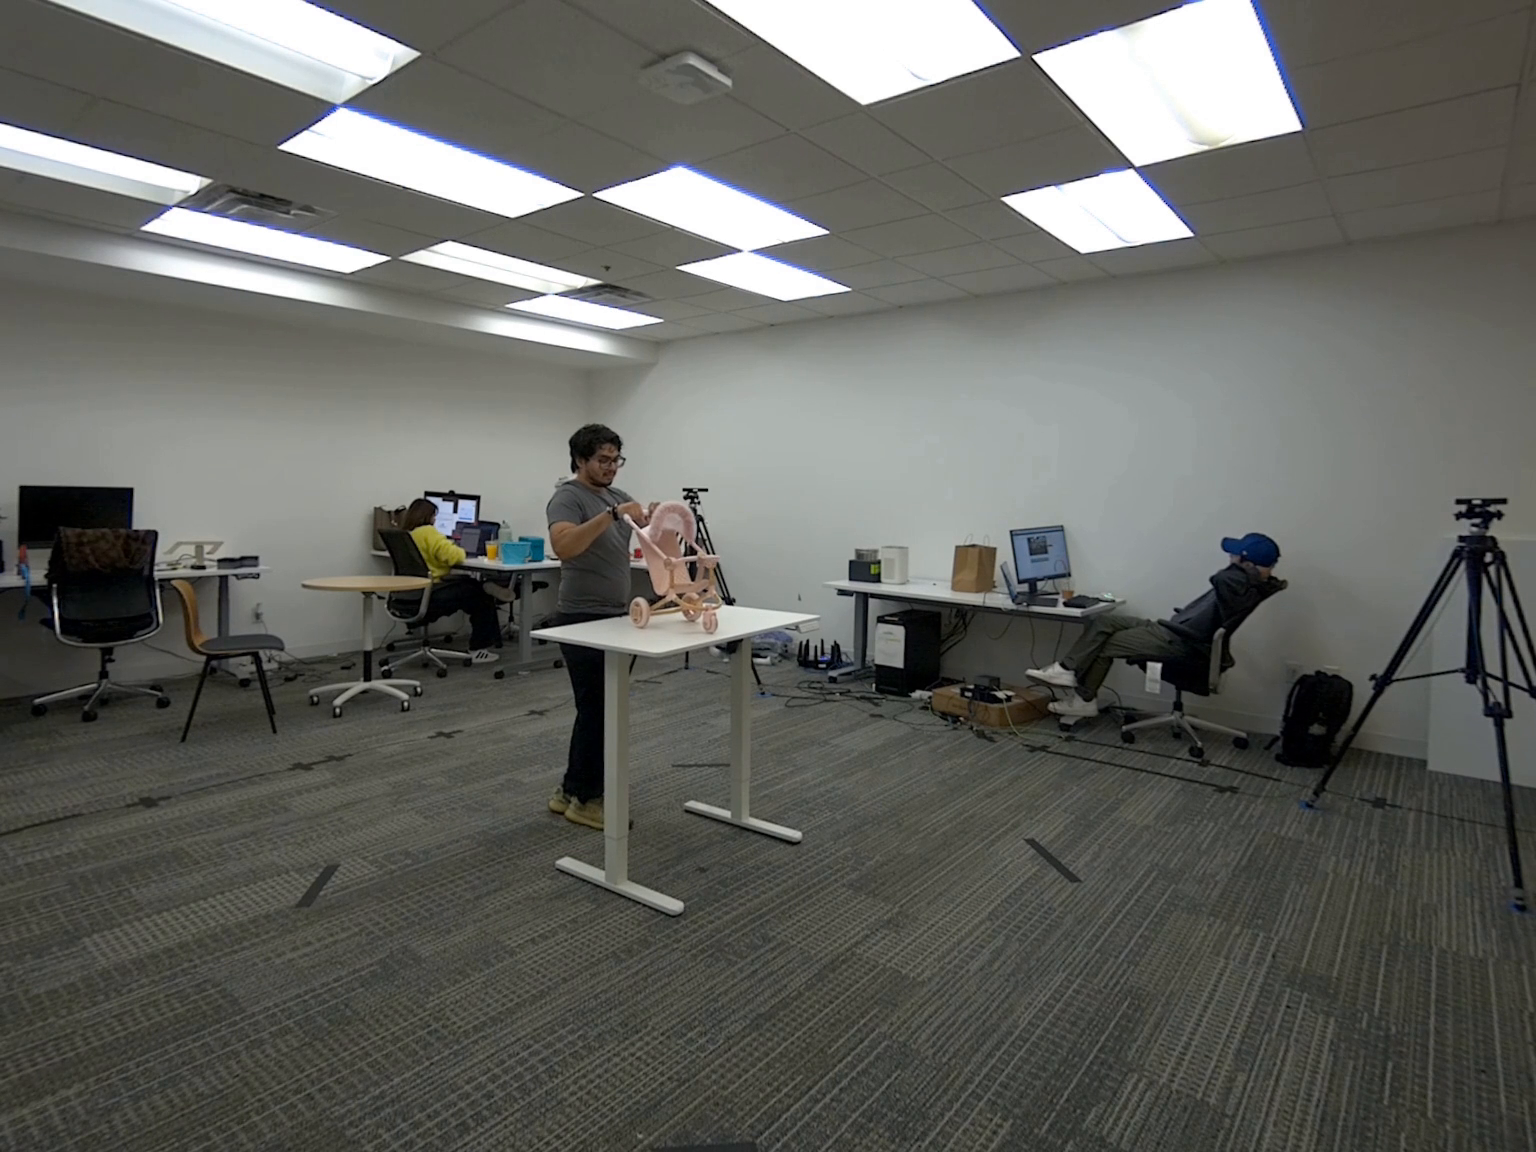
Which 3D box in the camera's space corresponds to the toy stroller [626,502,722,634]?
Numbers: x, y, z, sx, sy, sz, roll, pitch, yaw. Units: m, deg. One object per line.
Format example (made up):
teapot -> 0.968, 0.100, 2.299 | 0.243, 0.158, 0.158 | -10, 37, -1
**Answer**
toy stroller -> -0.349, -0.039, 3.117 | 0.273, 0.541, 0.348 | -2, -11, -40
